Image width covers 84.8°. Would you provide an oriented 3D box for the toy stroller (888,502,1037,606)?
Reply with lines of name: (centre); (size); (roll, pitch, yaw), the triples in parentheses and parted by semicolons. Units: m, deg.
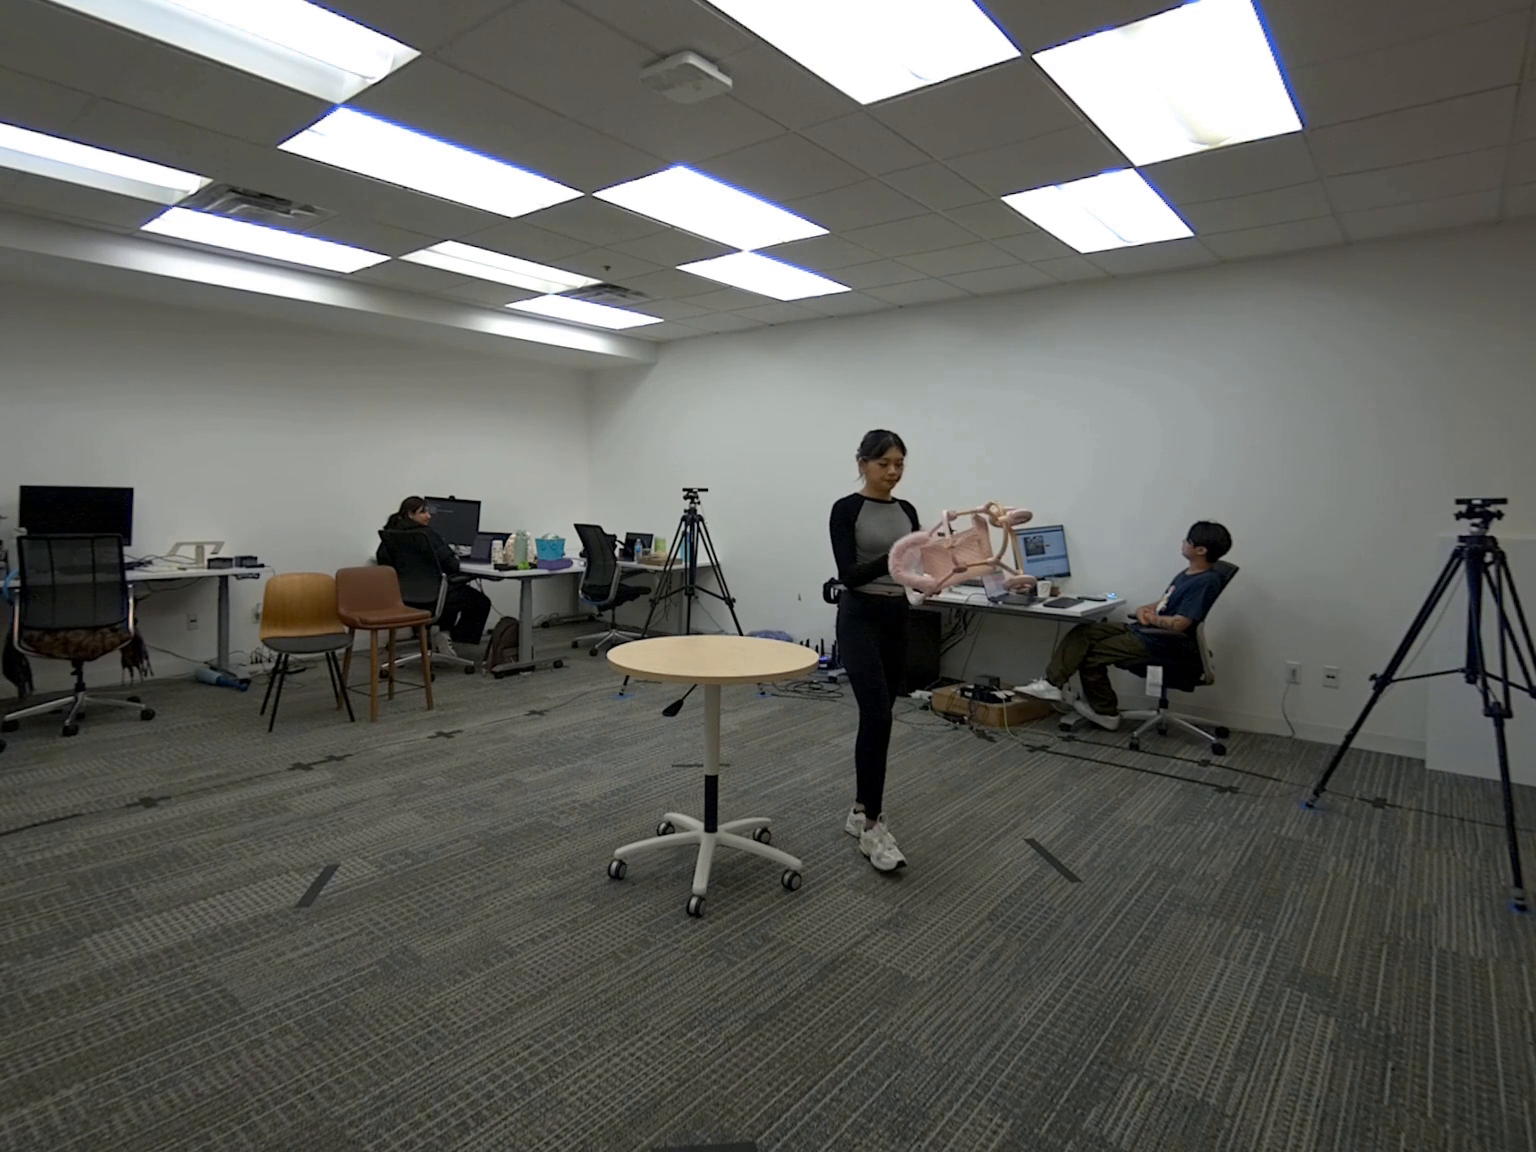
toy stroller: (0.635, -0.083, 2.860); (0.545, 0.287, 0.328); (-16, -23, 27)
